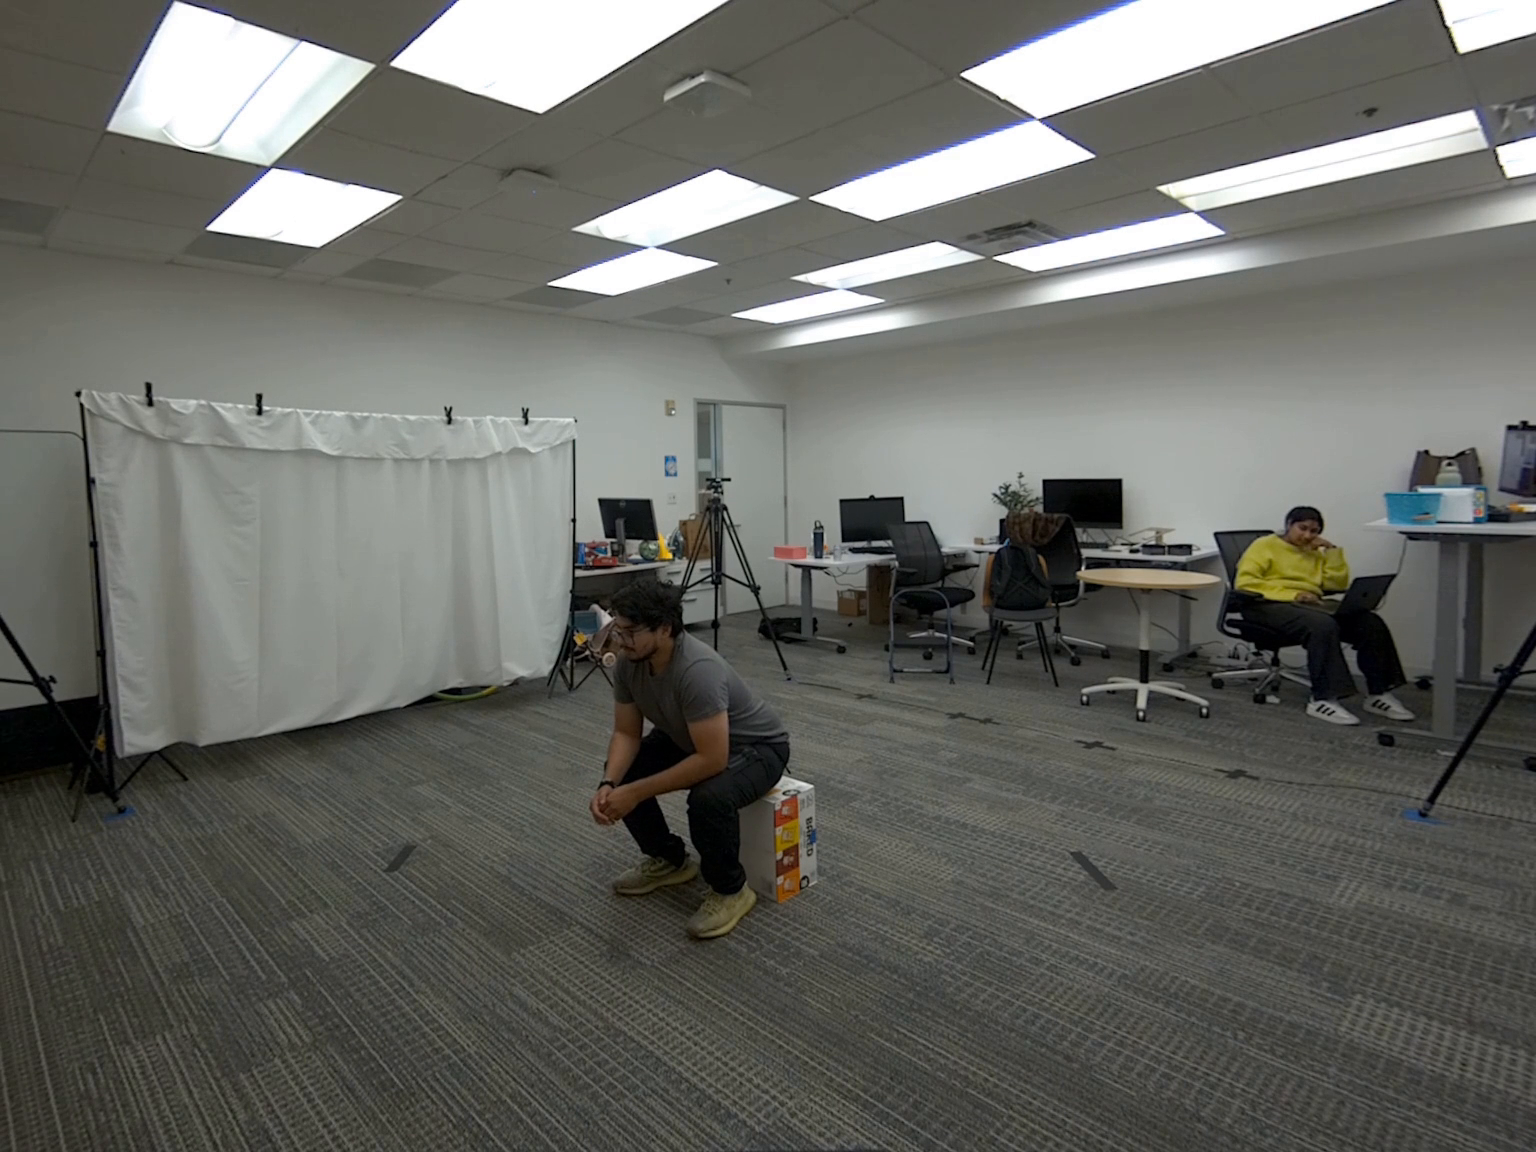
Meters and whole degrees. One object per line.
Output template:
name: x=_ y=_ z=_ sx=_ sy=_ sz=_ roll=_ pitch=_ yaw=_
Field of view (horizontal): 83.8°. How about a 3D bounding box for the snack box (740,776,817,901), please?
snack box: x=-0.043 y=0.885 z=3.016 sx=0.200 sy=0.339 sz=0.417 roll=-6 pitch=7 yaw=-45
